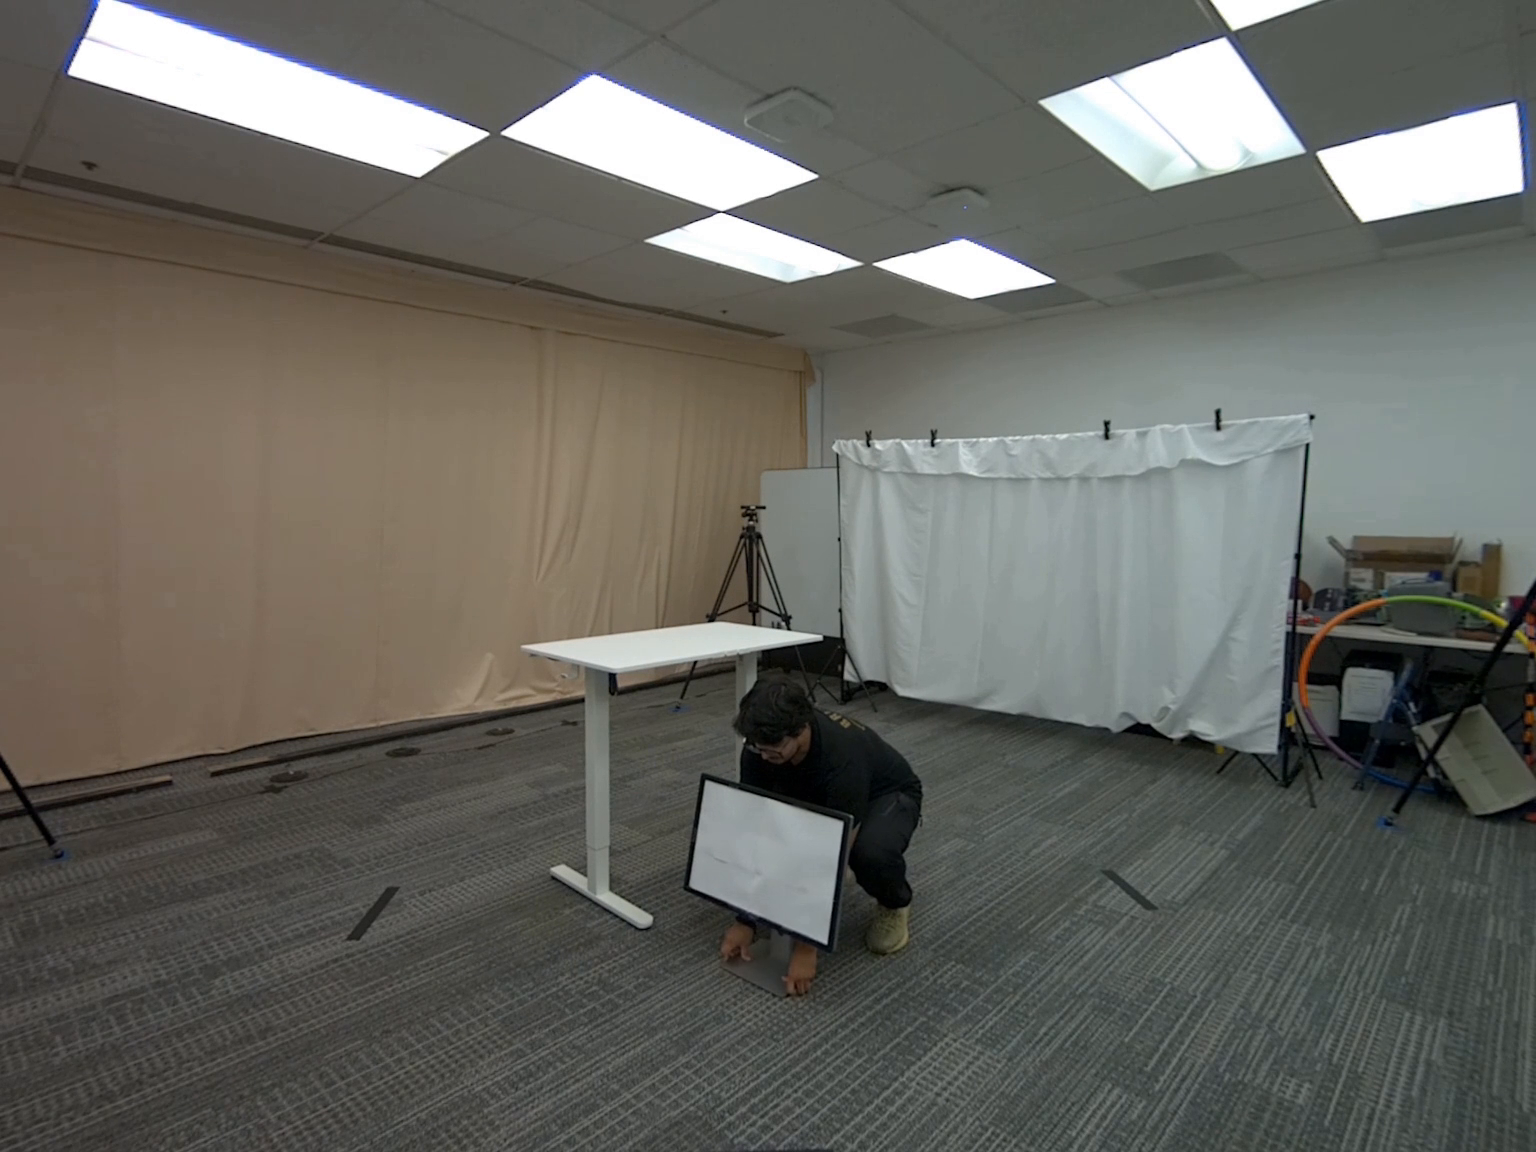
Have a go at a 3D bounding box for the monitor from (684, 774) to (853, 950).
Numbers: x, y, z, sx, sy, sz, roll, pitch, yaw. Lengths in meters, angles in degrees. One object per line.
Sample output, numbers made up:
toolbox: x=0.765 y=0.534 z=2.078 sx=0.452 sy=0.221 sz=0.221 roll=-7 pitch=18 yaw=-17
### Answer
monitor: x=0.026 y=0.912 z=2.540 sx=0.584 sy=0.554 sz=0.203 roll=4 pitch=-1 yaw=41
